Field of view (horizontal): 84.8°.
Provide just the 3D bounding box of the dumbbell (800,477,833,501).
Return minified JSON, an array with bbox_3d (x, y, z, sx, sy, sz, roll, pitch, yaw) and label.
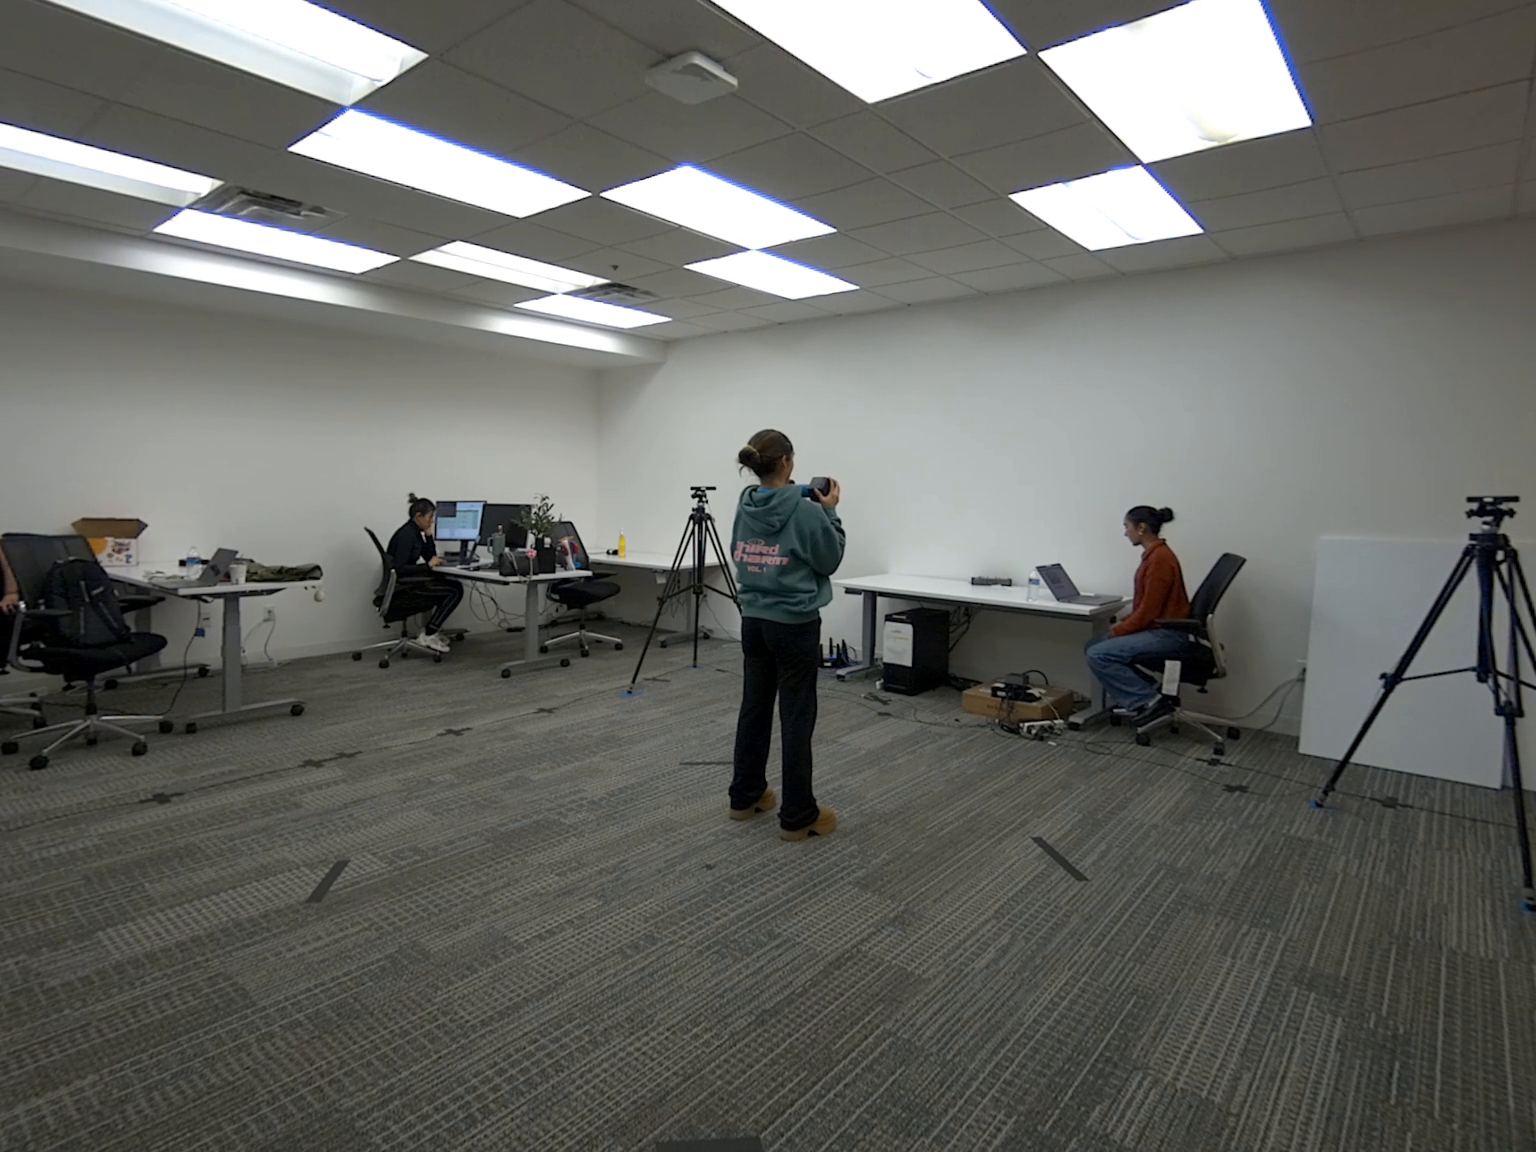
[{"bbox_3d":[0.132,-0.359,3.611,0.303,0.124,0.104,3,-33,44],"label":"dumbbell"}]
